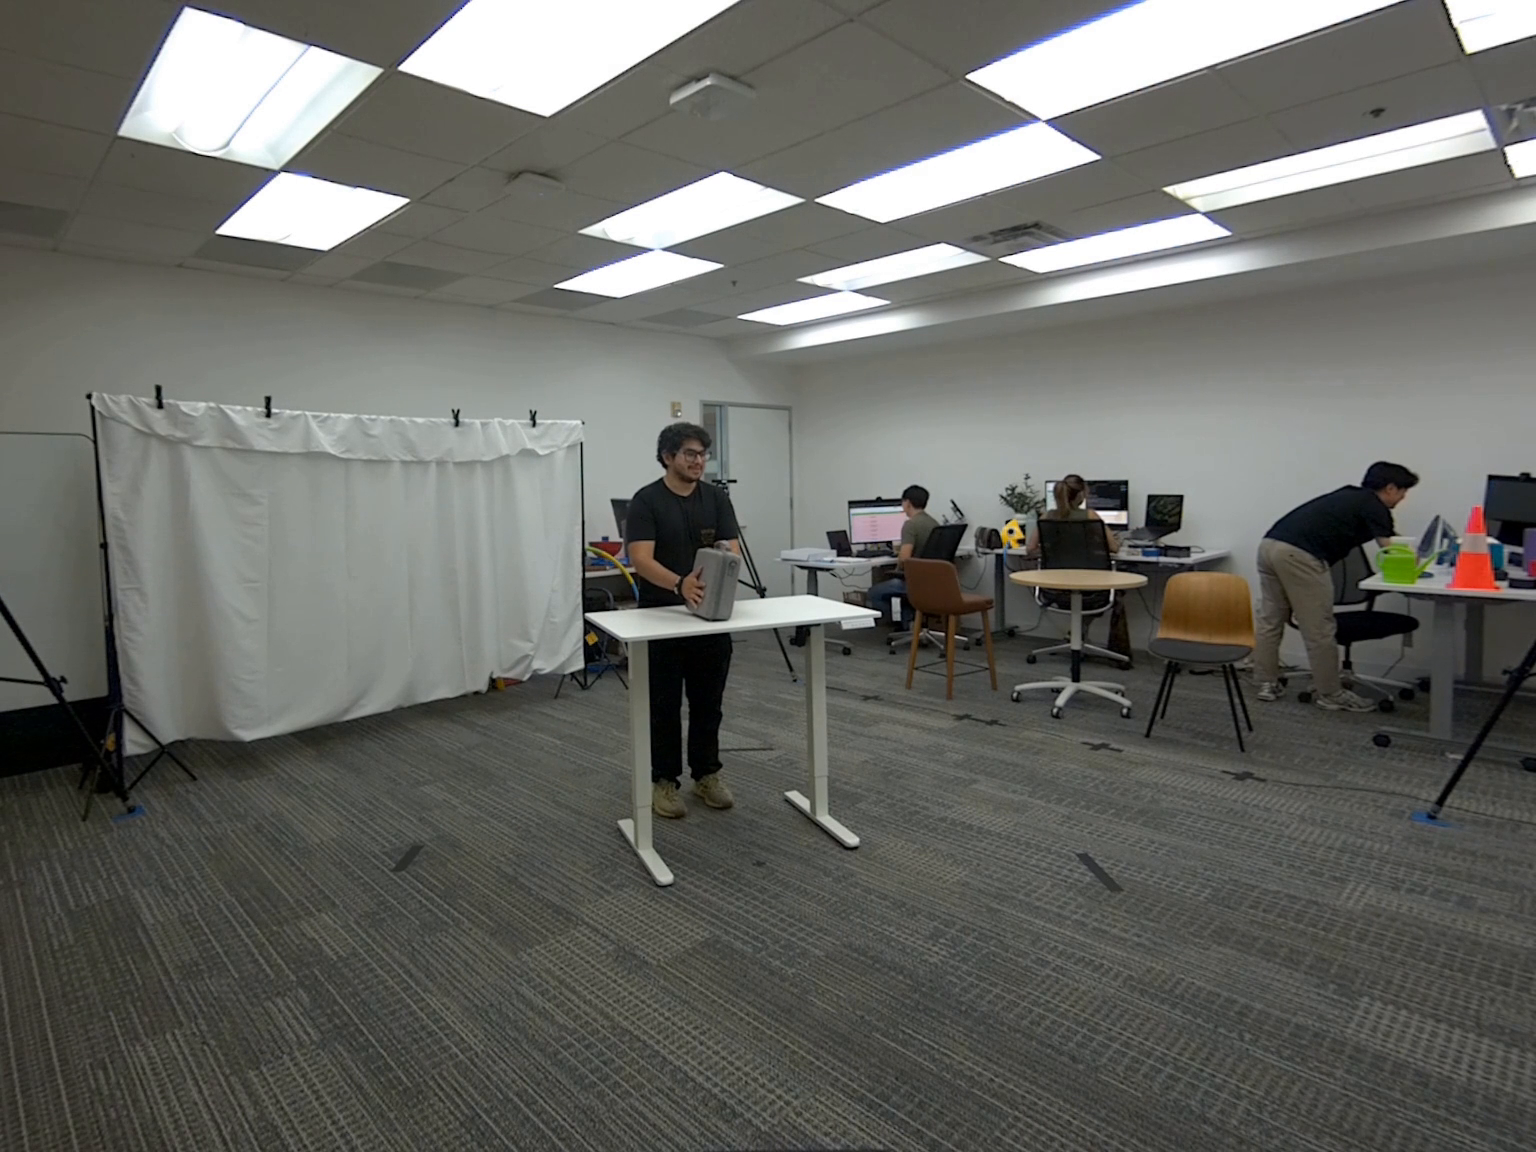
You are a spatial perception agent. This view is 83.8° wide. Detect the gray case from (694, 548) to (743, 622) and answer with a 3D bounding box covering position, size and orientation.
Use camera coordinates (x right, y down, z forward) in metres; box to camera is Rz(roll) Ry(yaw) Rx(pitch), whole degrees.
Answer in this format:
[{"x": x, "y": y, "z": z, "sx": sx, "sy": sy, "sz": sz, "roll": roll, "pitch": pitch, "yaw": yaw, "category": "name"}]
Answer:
[{"x": -0.205, "y": 0.026, "z": 3.218, "sx": 0.102, "sy": 0.261, "sz": 0.262, "roll": 11, "pitch": 0, "yaw": -21, "category": "gray case"}]
